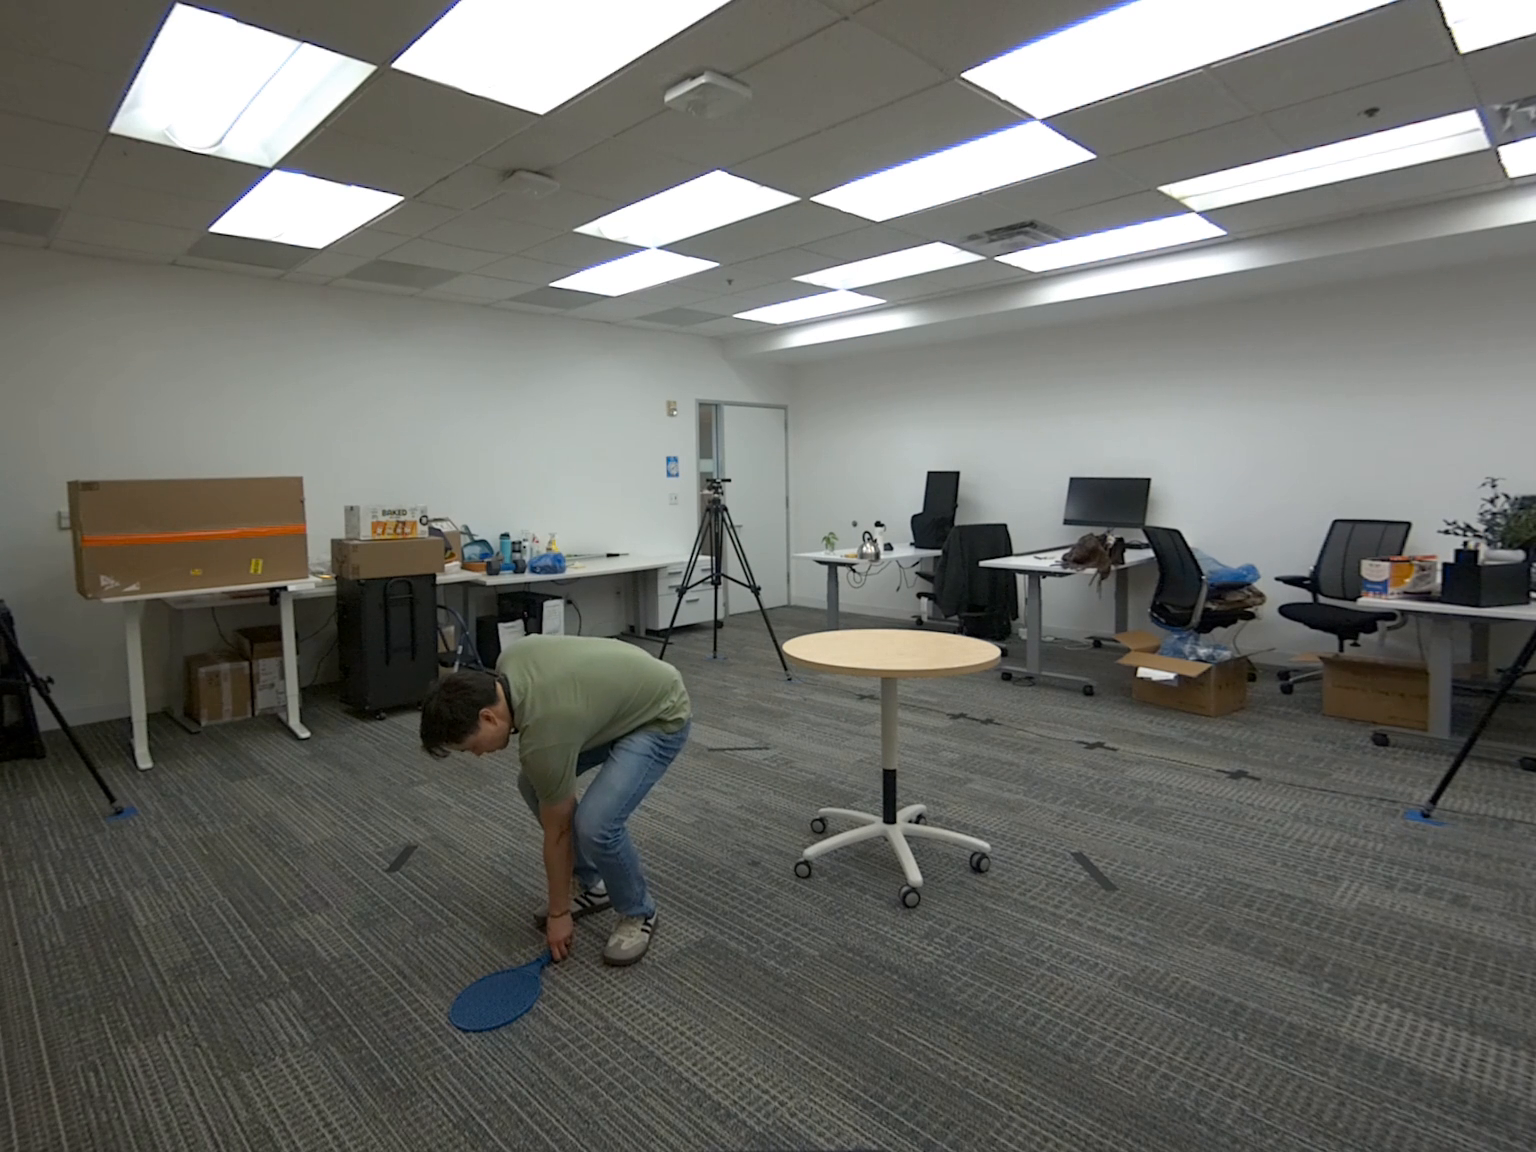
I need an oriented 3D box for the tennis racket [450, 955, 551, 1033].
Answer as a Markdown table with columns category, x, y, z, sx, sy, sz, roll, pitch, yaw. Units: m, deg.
| category | x | y | z | sx | sy | sz | roll | pitch | yaw |
| --- | --- | --- | --- | --- | --- | --- | --- | --- | --- |
| tennis racket | -0.684 | 1.127 | 2.382 | 0.219 | 0.031 | 0.424 | 2 | 8 | 27 |
